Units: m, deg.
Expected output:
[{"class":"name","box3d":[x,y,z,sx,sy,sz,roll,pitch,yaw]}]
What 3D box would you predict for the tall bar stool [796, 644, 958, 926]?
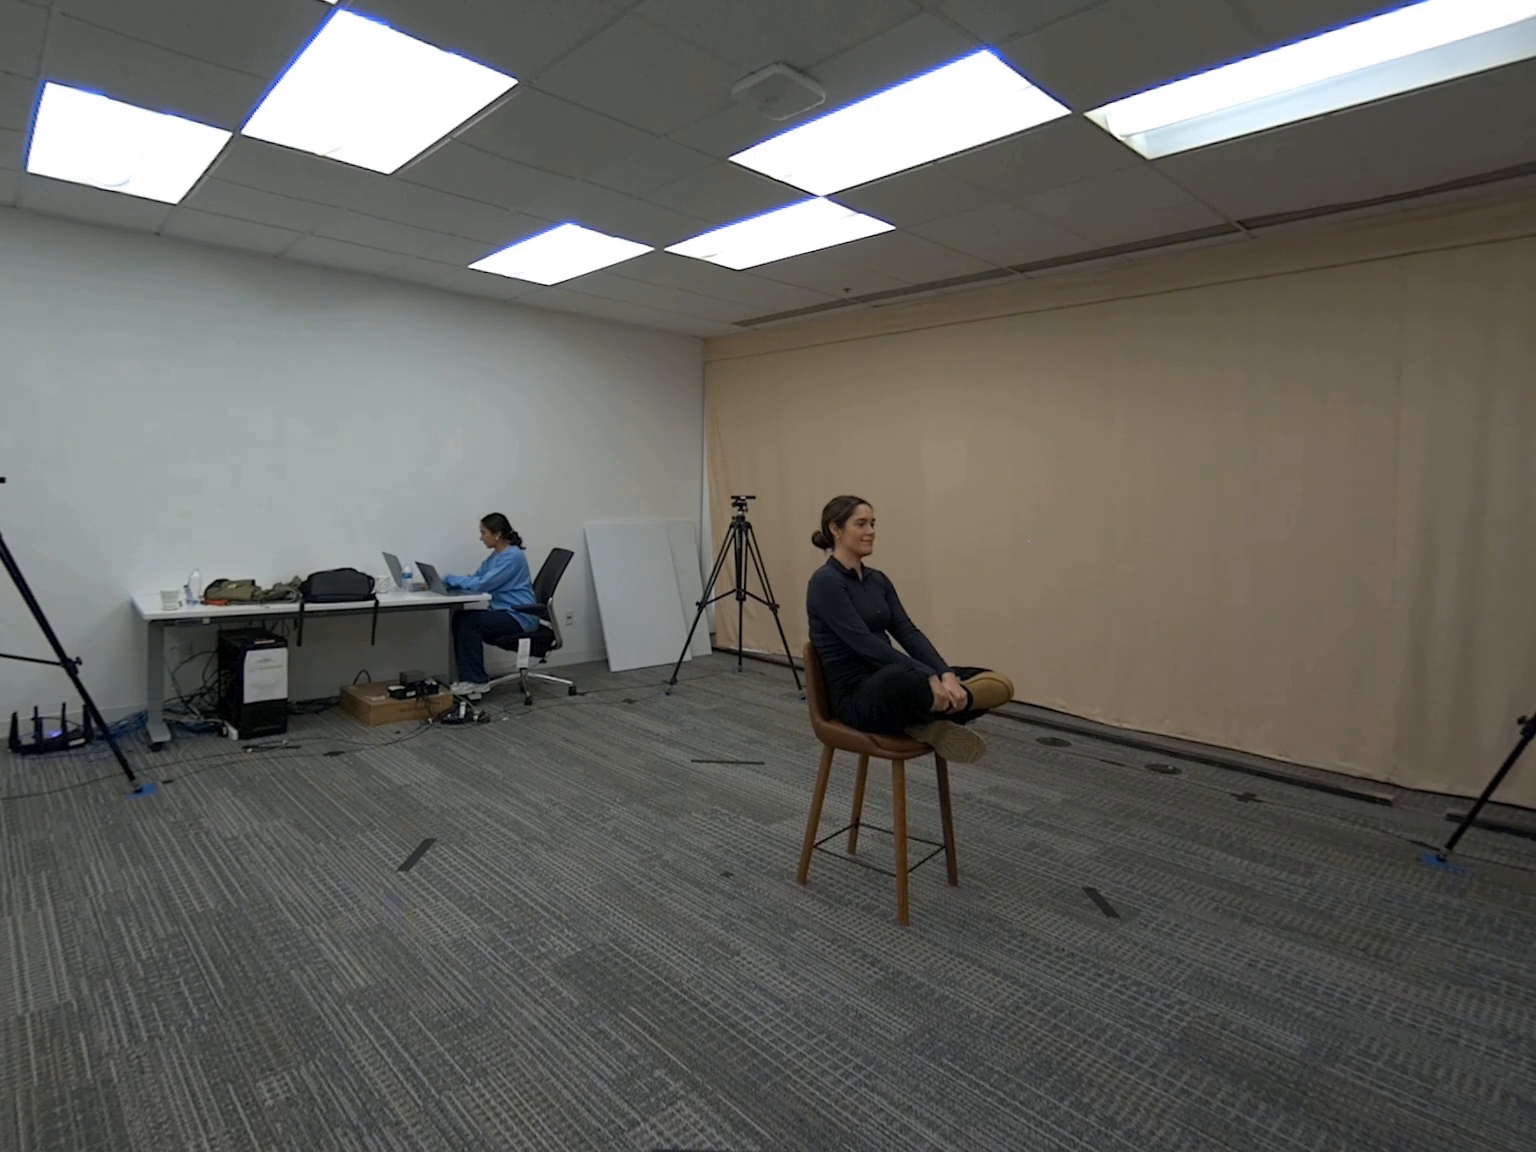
[{"class":"tall bar stool","box3d":[0.393,0.687,3.036,0.479,0.888,0.446,2,2,38]}]
